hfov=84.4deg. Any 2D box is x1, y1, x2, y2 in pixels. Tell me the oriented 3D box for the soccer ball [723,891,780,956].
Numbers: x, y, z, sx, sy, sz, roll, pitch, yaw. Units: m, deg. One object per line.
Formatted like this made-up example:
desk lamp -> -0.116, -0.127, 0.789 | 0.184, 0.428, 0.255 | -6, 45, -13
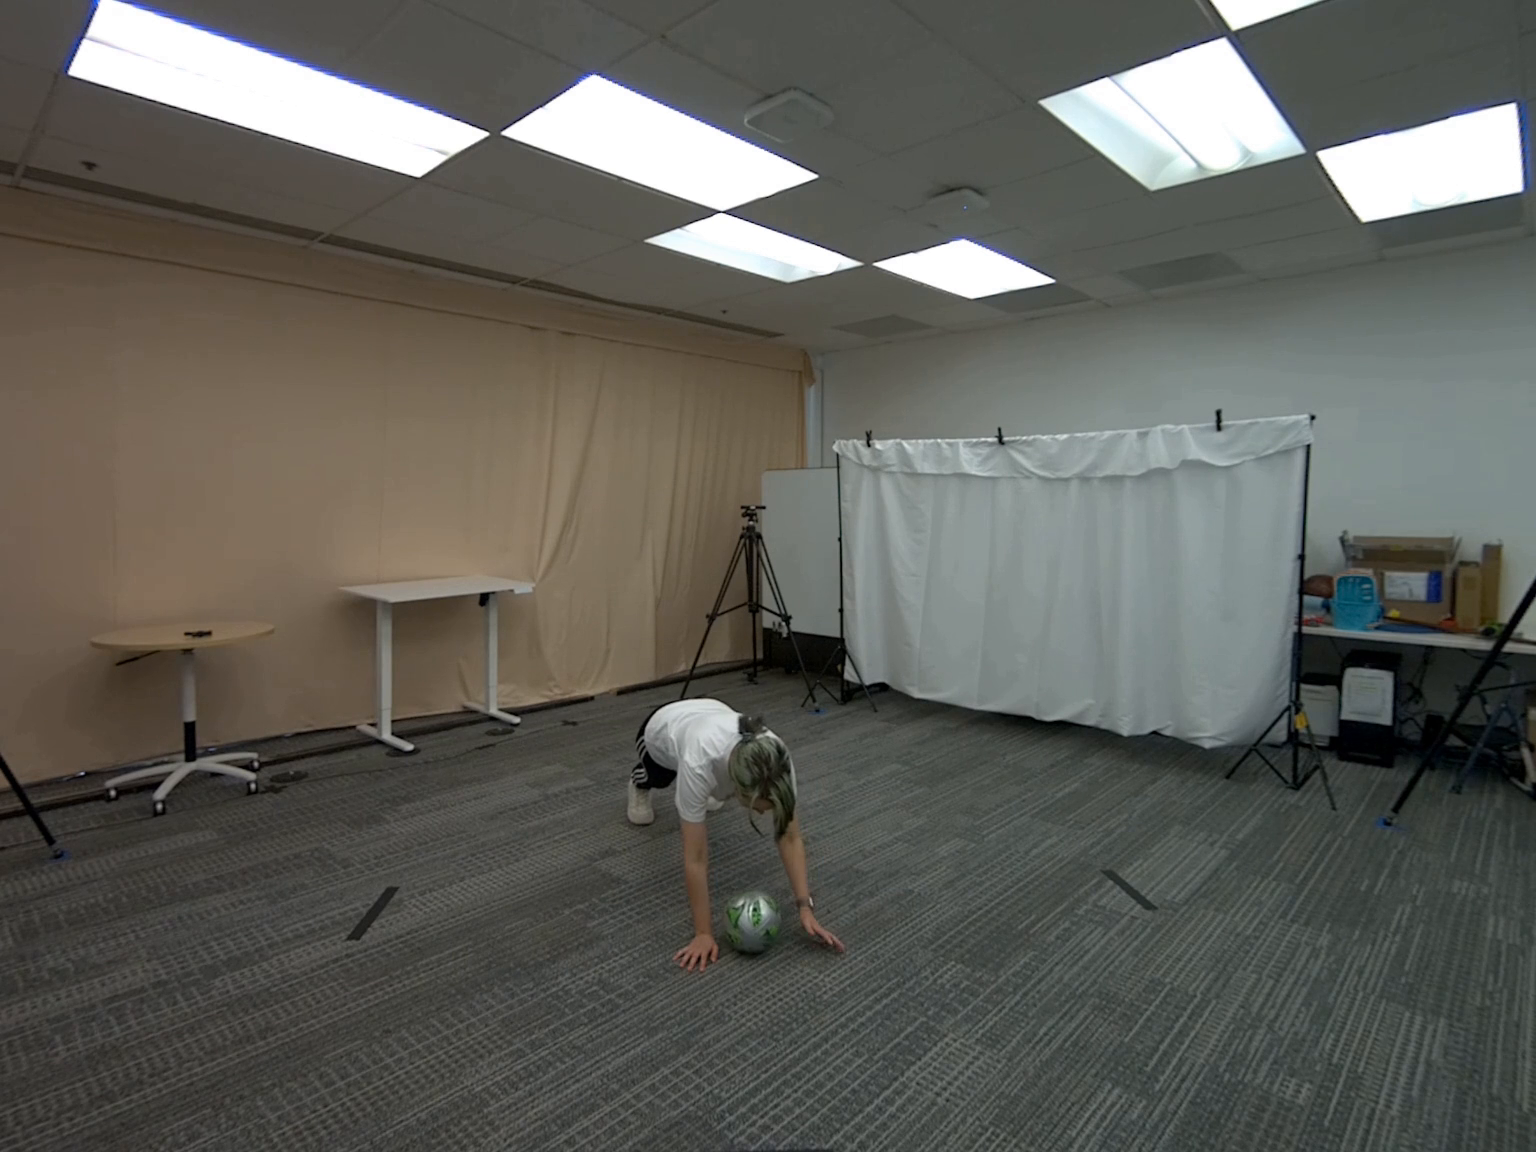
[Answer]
soccer ball -> -0.046, 1.080, 2.634 | 0.187, 0.187, 0.188 | 0, 4, -2
